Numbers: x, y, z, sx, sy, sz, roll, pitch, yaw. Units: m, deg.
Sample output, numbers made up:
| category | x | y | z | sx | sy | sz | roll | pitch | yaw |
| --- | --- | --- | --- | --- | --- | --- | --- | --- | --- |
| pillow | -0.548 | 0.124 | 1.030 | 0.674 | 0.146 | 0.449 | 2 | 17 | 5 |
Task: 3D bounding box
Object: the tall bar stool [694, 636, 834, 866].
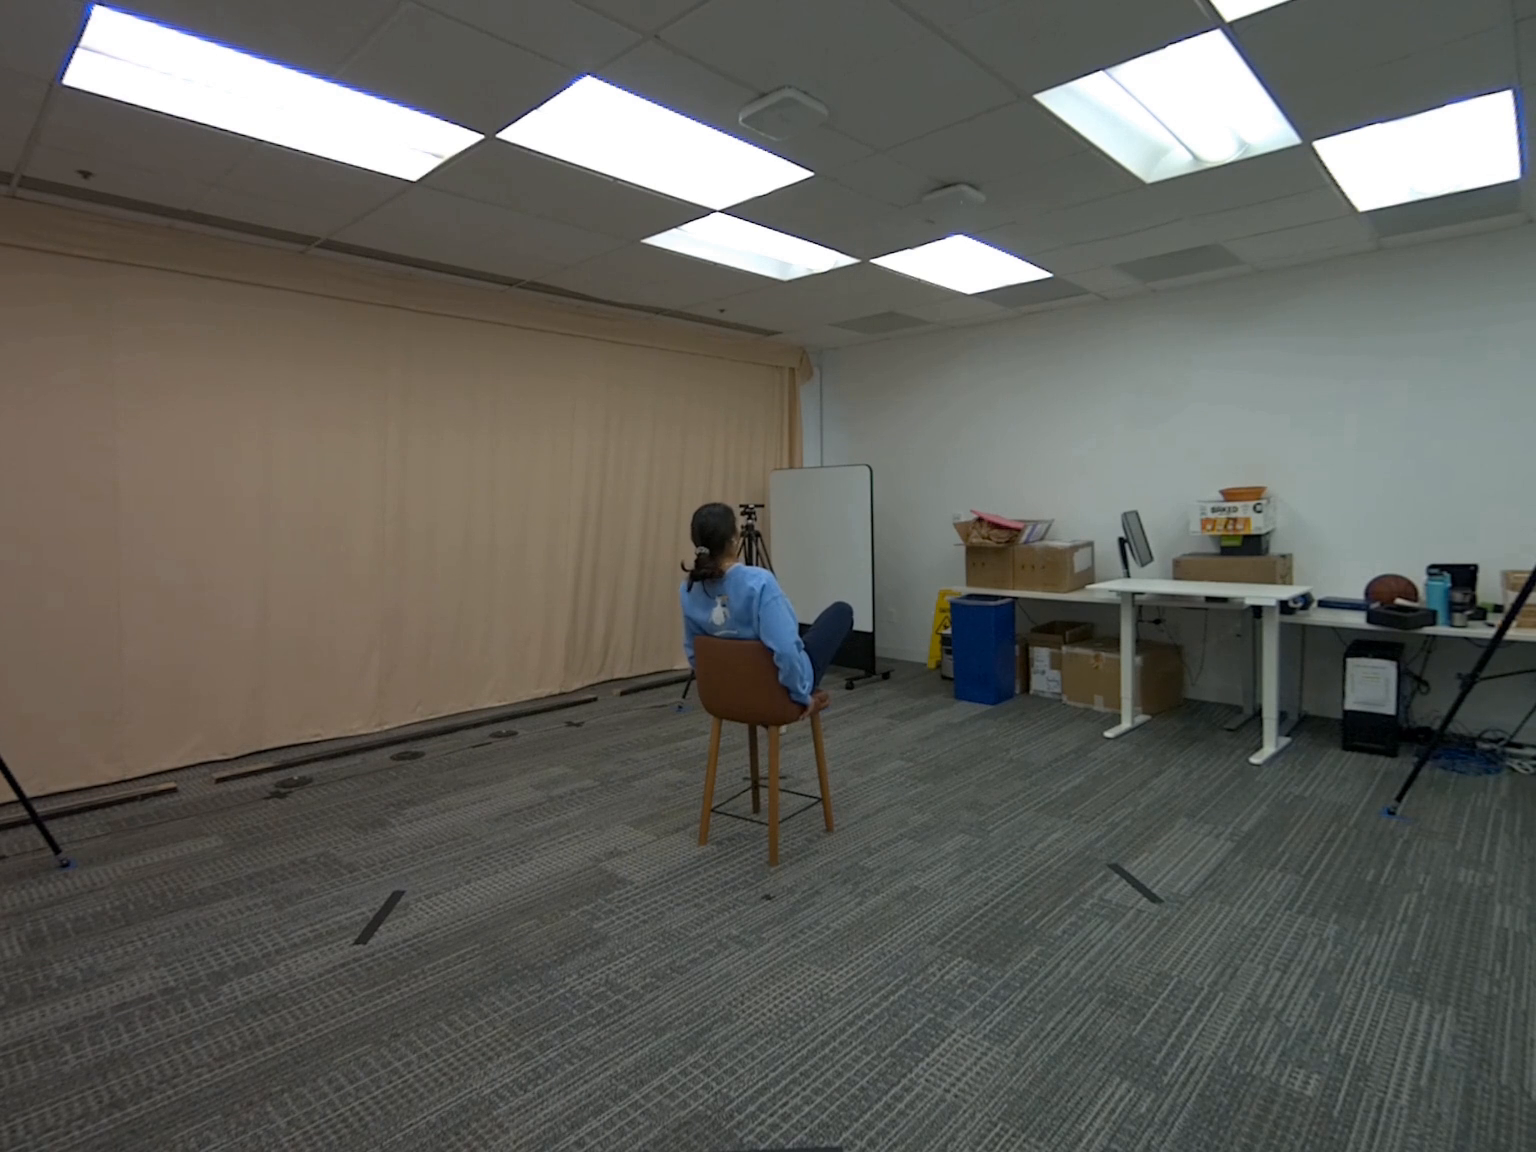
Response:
| category | x | y | z | sx | sy | sz | roll | pitch | yaw |
| --- | --- | --- | --- | --- | --- | --- | --- | --- | --- |
| tall bar stool | -0.021 | 0.656 | 3.497 | 0.471 | 0.887 | 0.455 | 1 | 6 | 36 |
